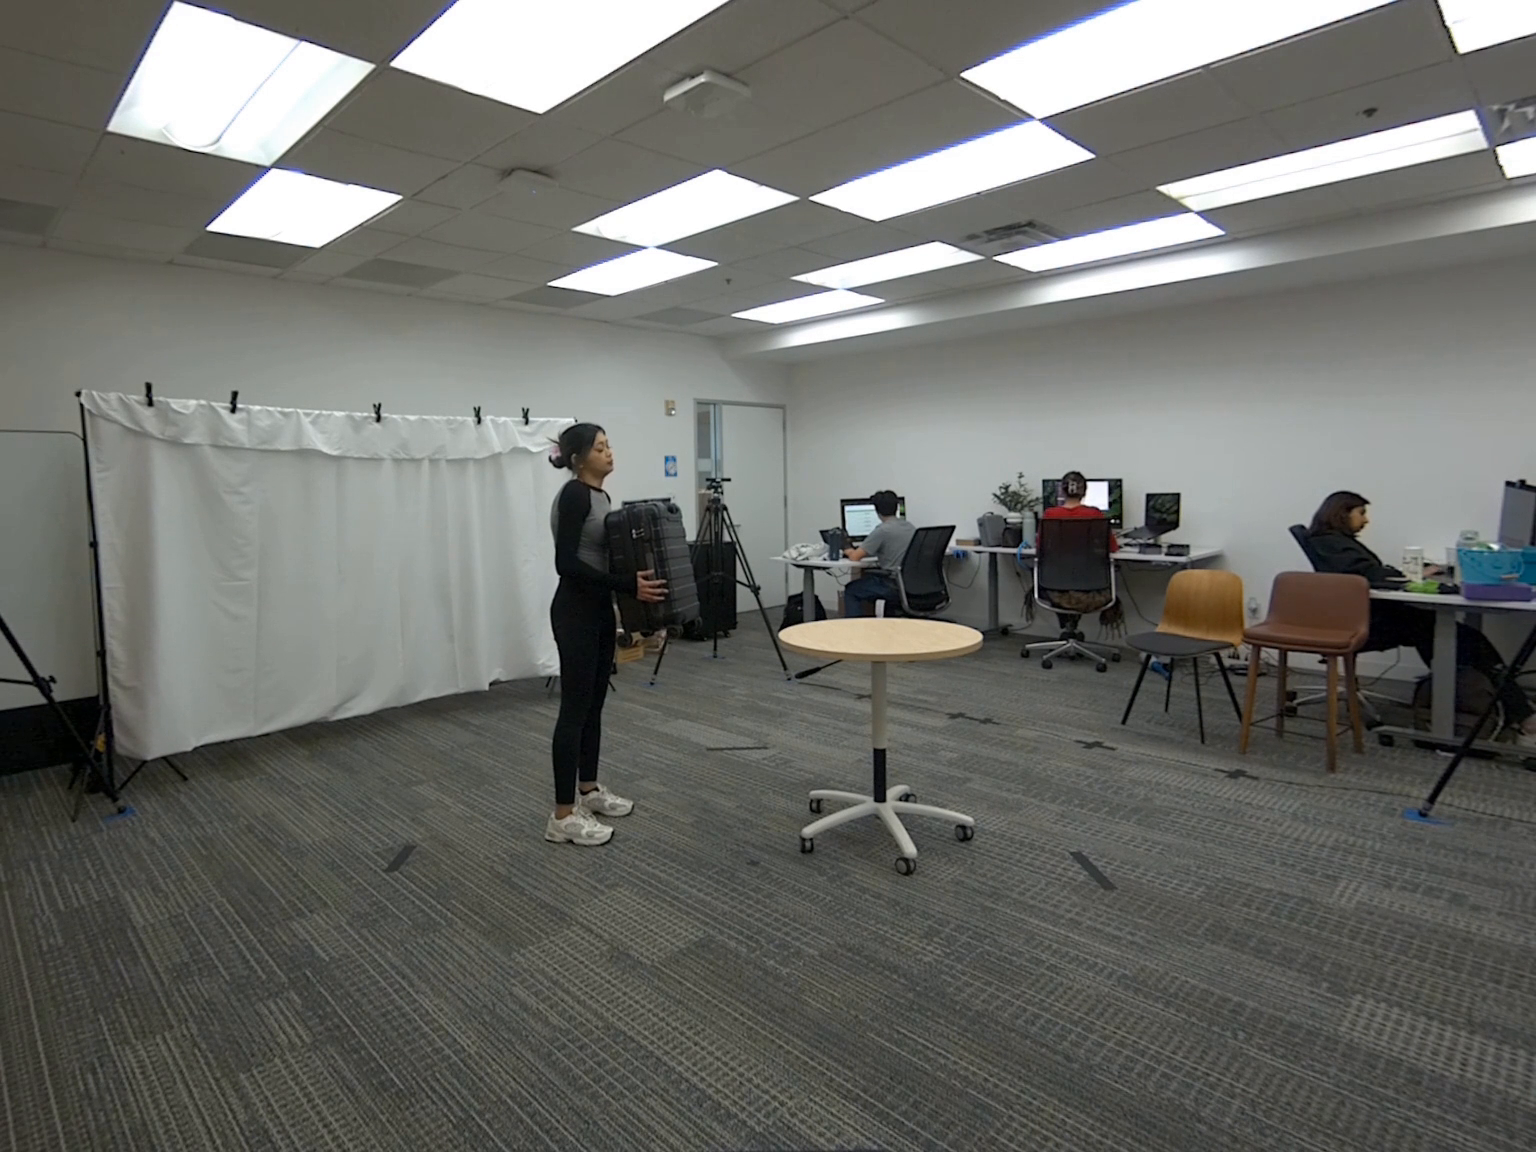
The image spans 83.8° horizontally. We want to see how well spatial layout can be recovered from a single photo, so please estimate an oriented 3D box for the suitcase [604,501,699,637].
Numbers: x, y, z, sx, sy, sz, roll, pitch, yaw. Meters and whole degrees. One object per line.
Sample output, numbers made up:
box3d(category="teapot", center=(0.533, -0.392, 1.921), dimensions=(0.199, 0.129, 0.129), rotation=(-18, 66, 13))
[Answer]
box3d(category="suitcase", center=(-0.465, -0.032, 3.446), dimensions=(0.251, 0.549, 0.372), rotation=(-9, 1, 12))
